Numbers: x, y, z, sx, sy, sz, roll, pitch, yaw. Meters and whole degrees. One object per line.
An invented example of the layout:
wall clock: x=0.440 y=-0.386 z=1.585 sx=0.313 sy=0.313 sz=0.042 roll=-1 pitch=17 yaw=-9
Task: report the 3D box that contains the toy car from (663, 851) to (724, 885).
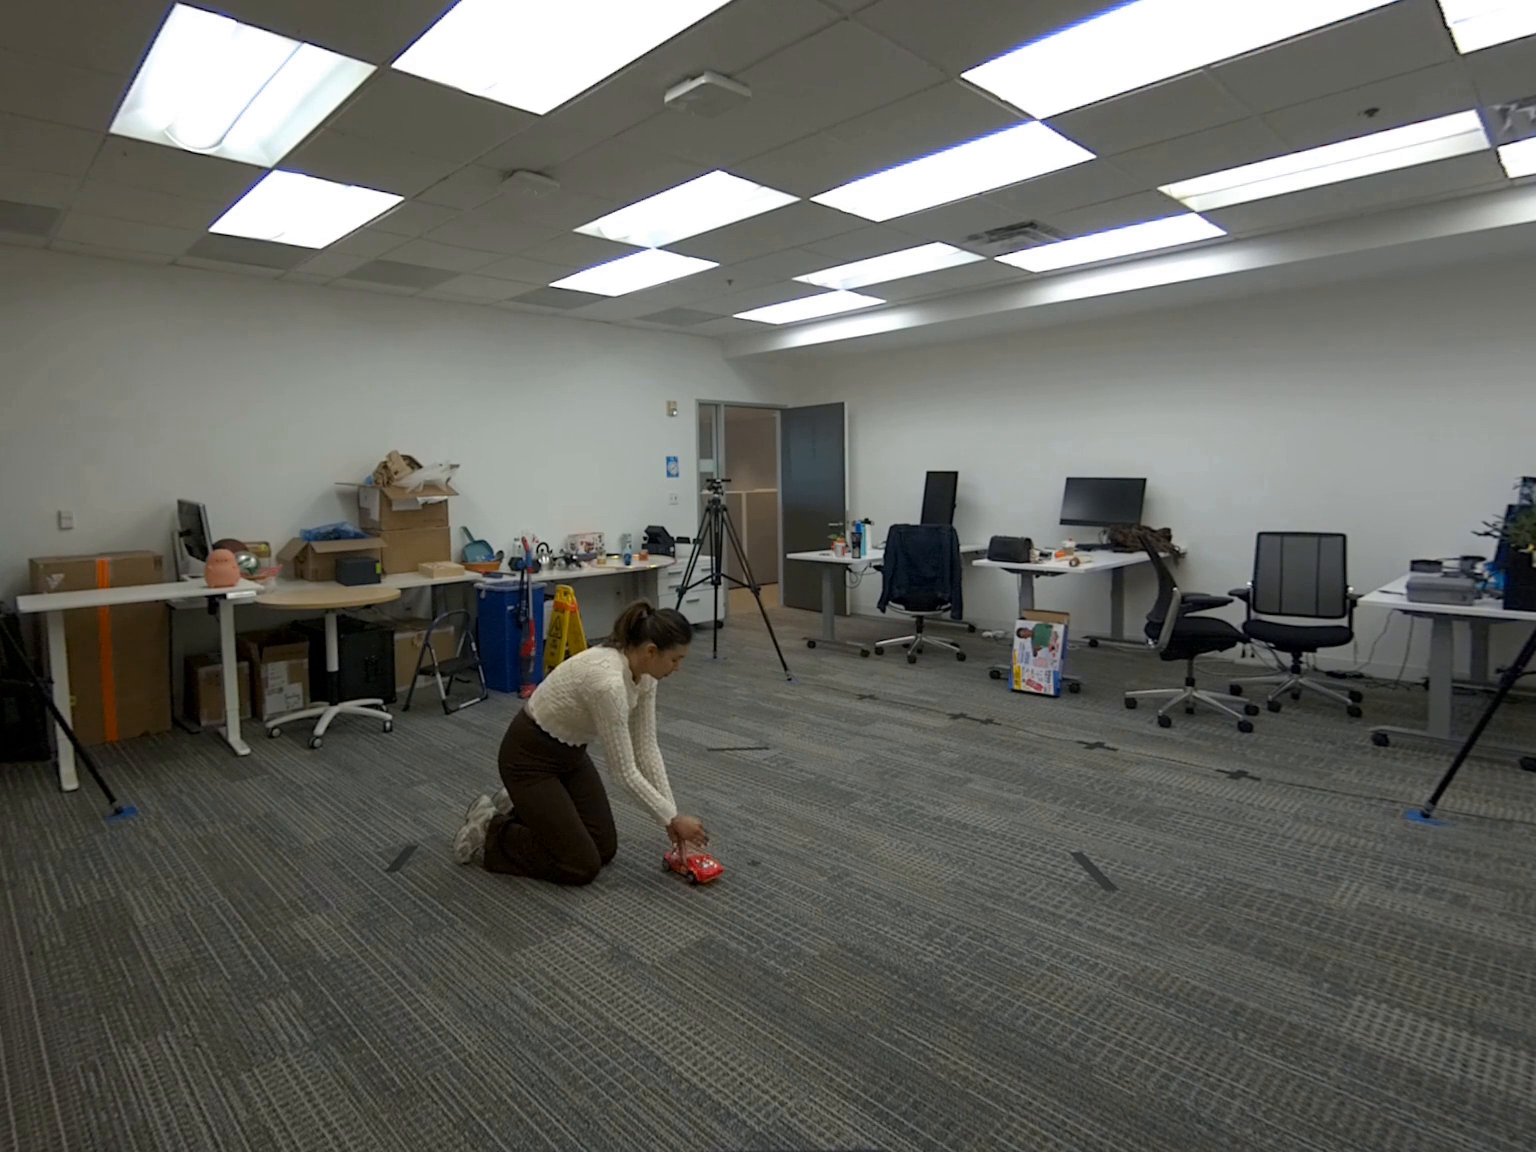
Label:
toy car: x=-0.261 y=1.020 z=3.014 sx=0.127 sy=0.083 sz=0.260 roll=-6 pitch=-3 yaw=-42
